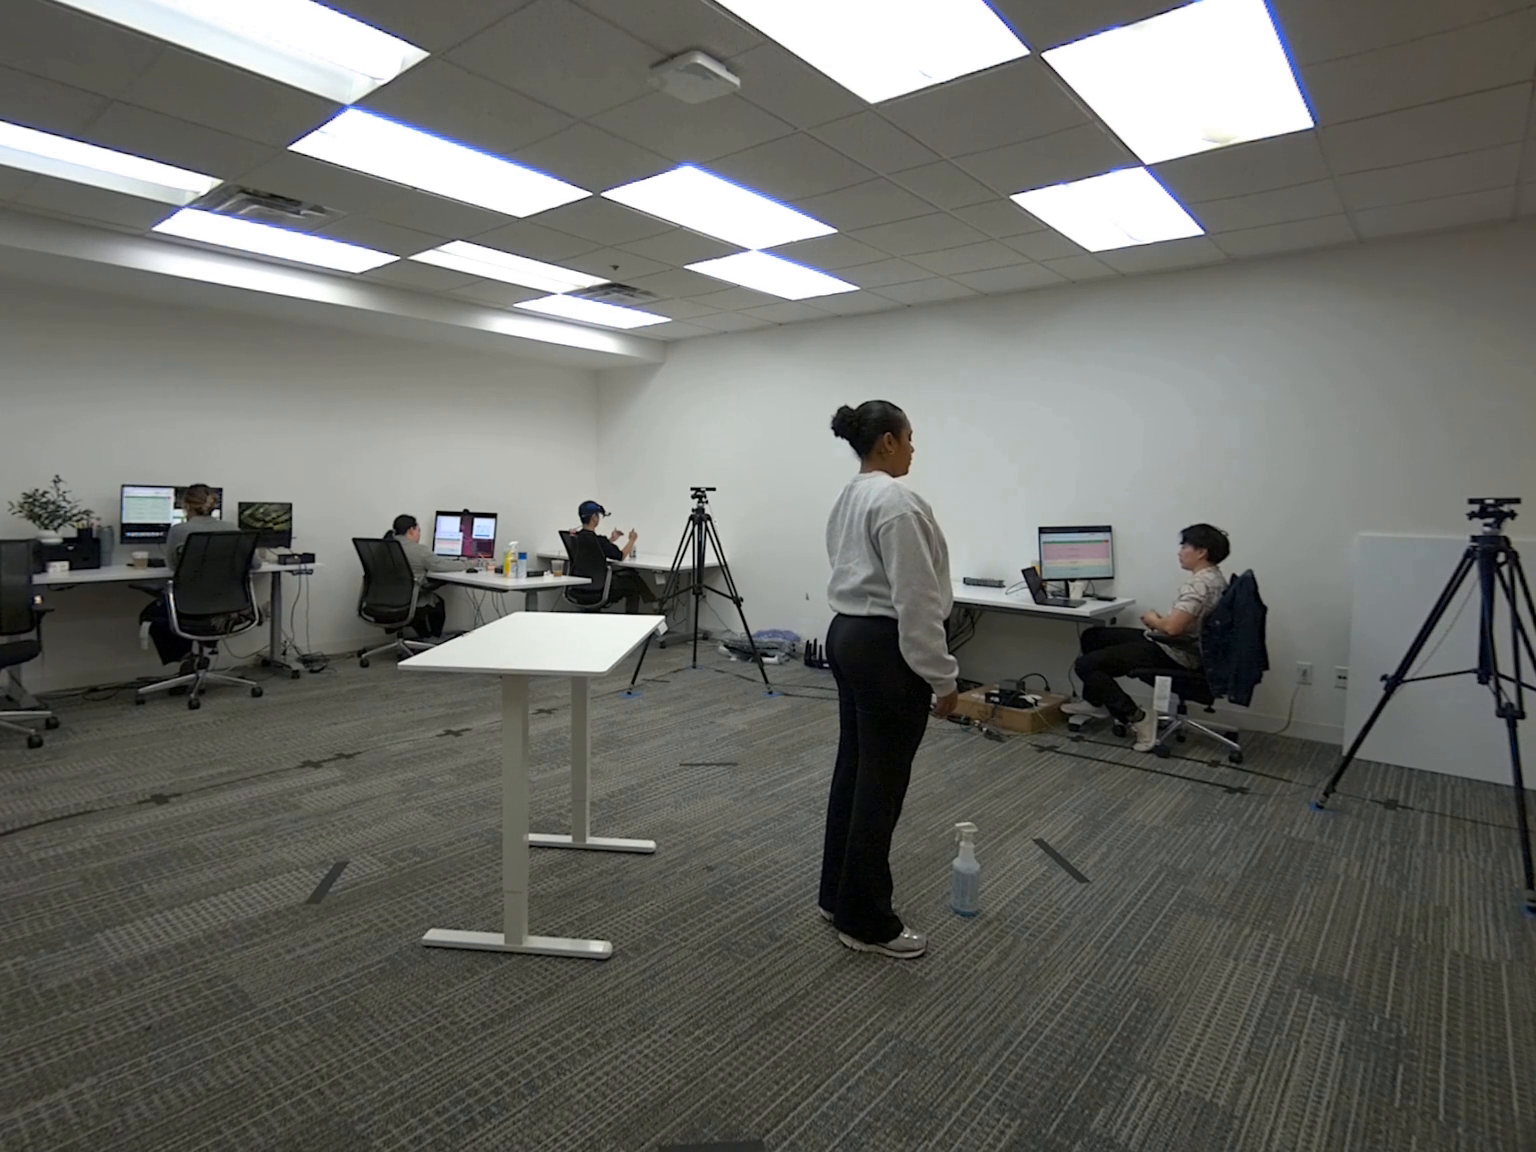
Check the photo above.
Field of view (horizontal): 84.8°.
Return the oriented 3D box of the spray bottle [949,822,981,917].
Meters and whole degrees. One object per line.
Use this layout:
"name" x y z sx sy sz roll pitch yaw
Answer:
"spray bottle" 0.656 0.974 2.837 0.090 0.296 0.087 -1 3 0
